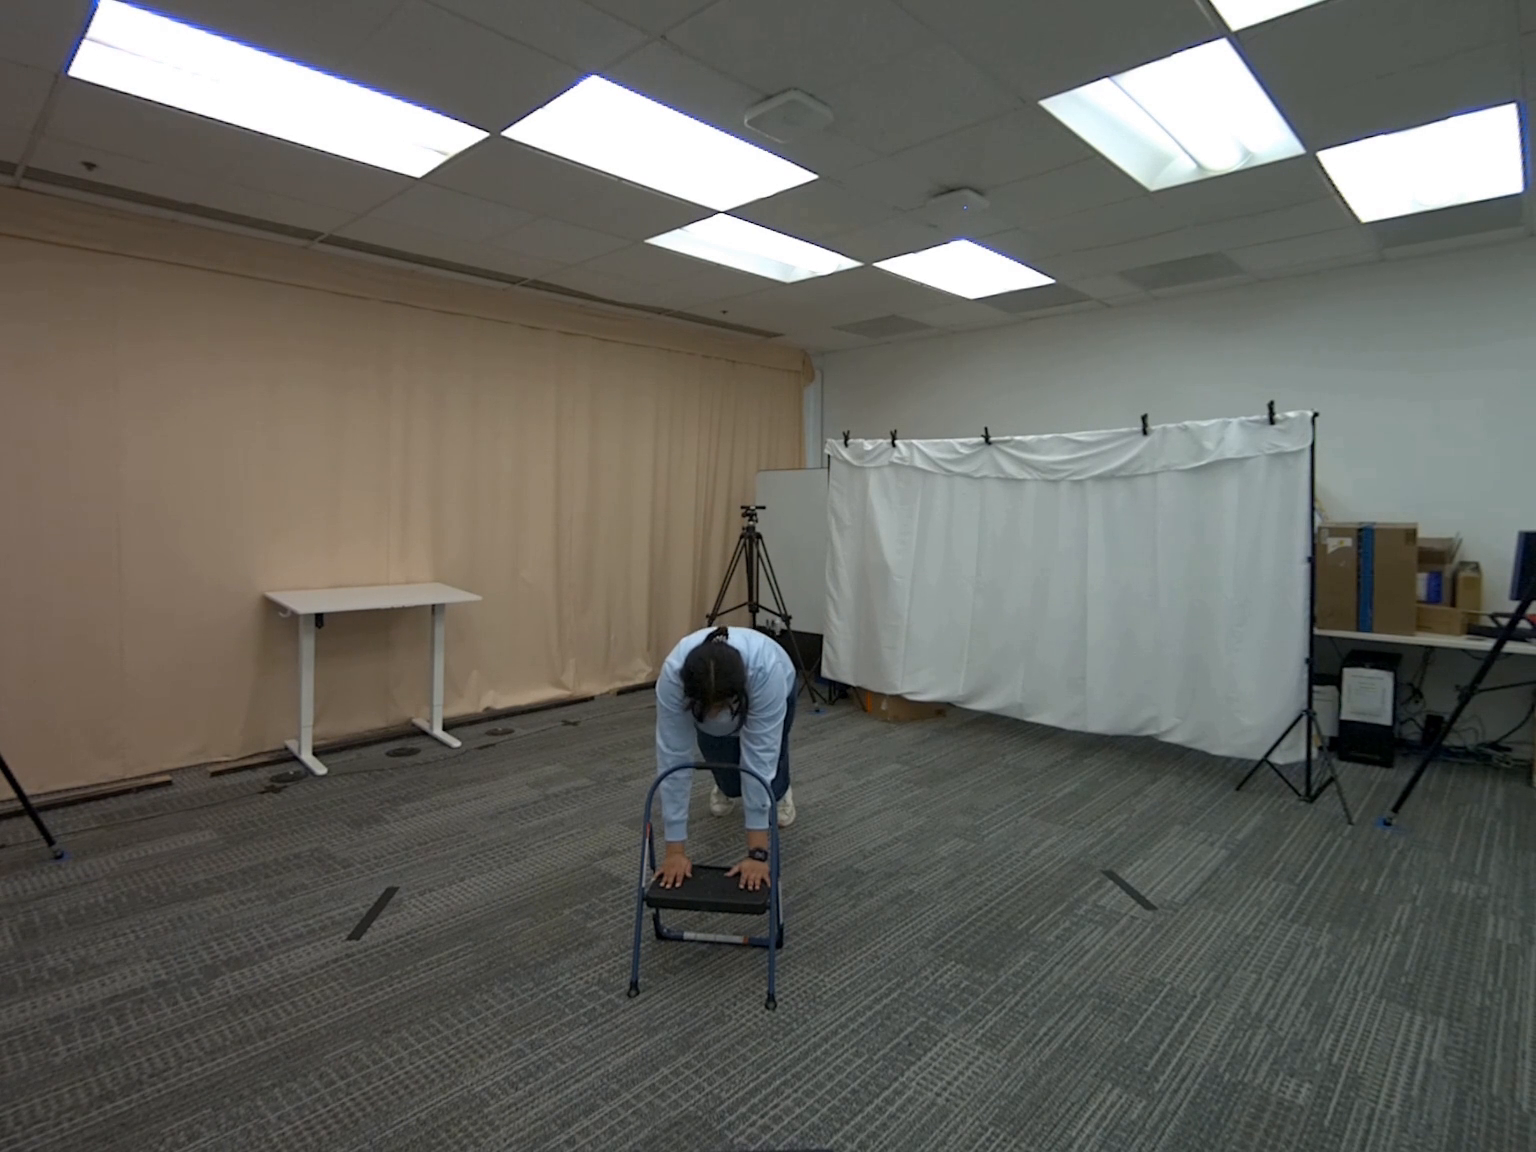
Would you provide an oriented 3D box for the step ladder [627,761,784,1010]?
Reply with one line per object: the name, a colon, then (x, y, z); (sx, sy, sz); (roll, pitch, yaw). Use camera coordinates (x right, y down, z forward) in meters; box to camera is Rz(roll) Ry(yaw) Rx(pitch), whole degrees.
step ladder: (-0.171, 0.878, 2.518); (0.434, 0.605, 0.347); (1, 3, 7)
